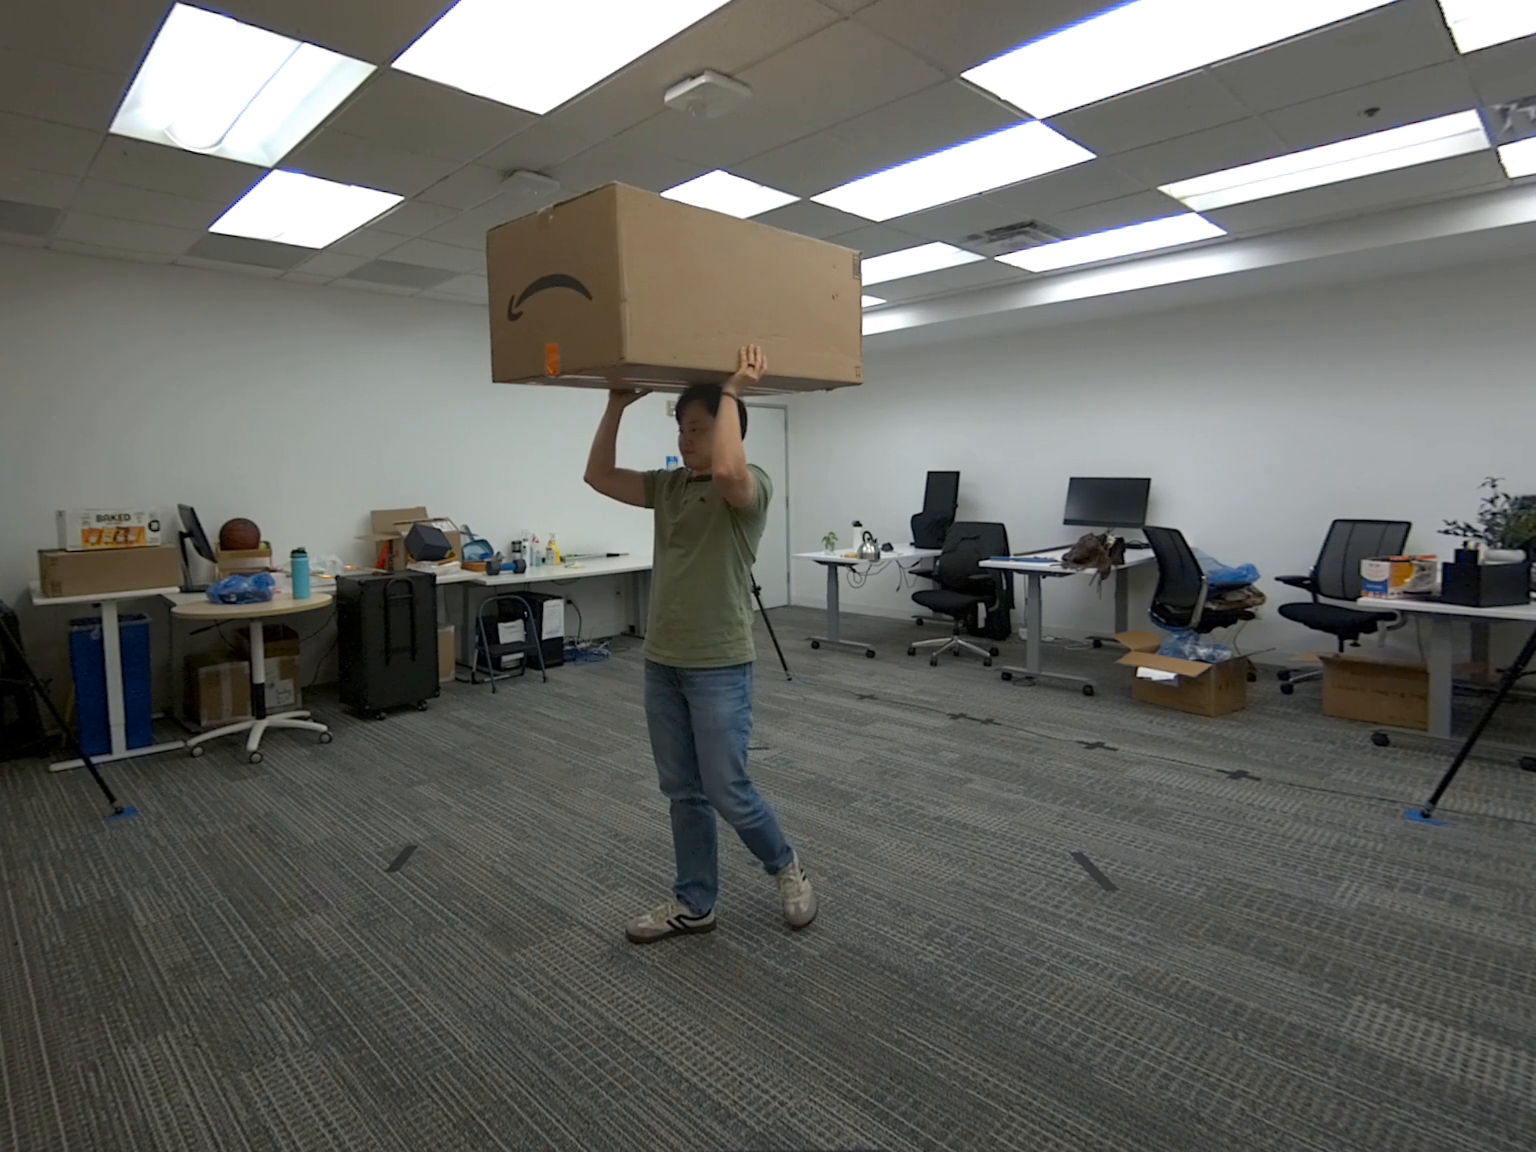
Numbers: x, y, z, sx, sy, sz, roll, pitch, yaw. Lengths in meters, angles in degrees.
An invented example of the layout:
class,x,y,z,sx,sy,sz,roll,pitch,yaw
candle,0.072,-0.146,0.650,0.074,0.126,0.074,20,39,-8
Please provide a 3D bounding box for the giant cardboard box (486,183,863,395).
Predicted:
class,x,y,z,sx,sy,sz,roll,pitch,yaw
giant cardboard box,-0.235,-0.788,2.571,0.595,0.424,1.000,5,10,41
